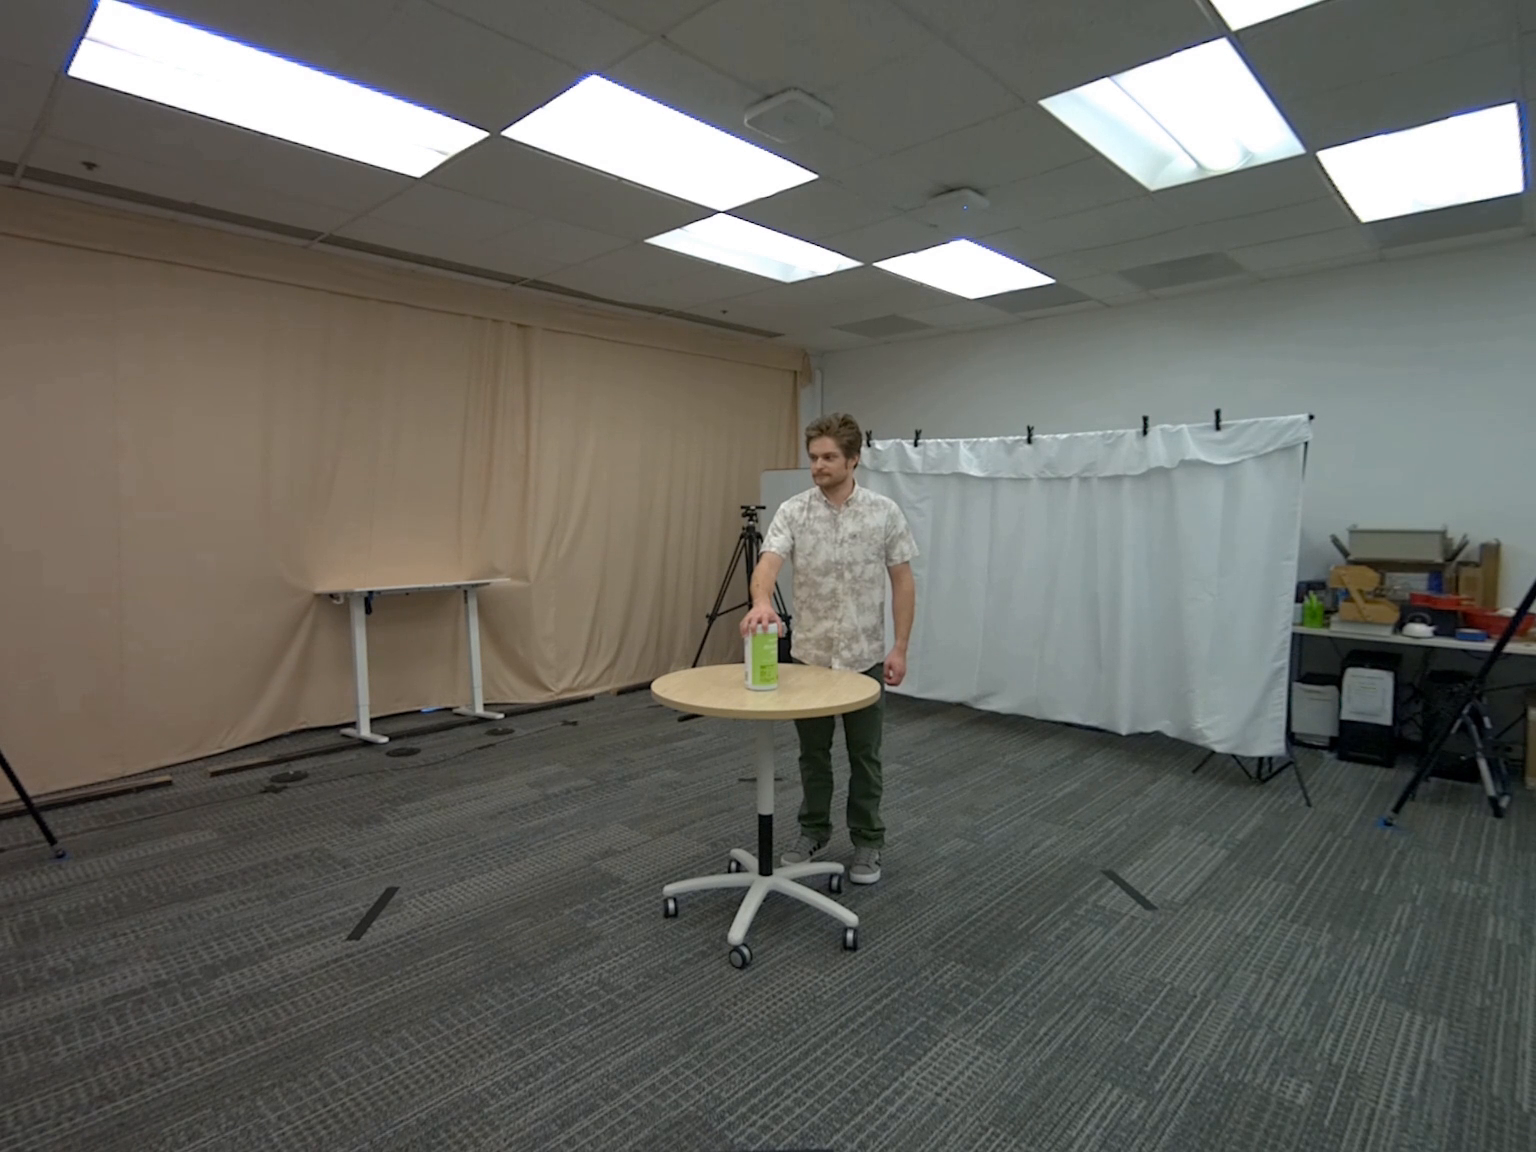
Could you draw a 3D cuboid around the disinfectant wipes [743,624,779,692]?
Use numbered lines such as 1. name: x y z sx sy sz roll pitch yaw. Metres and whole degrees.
1. disinfectant wipes: -0.022 0.264 2.767 0.118 0.217 0.118 0 3 -2
